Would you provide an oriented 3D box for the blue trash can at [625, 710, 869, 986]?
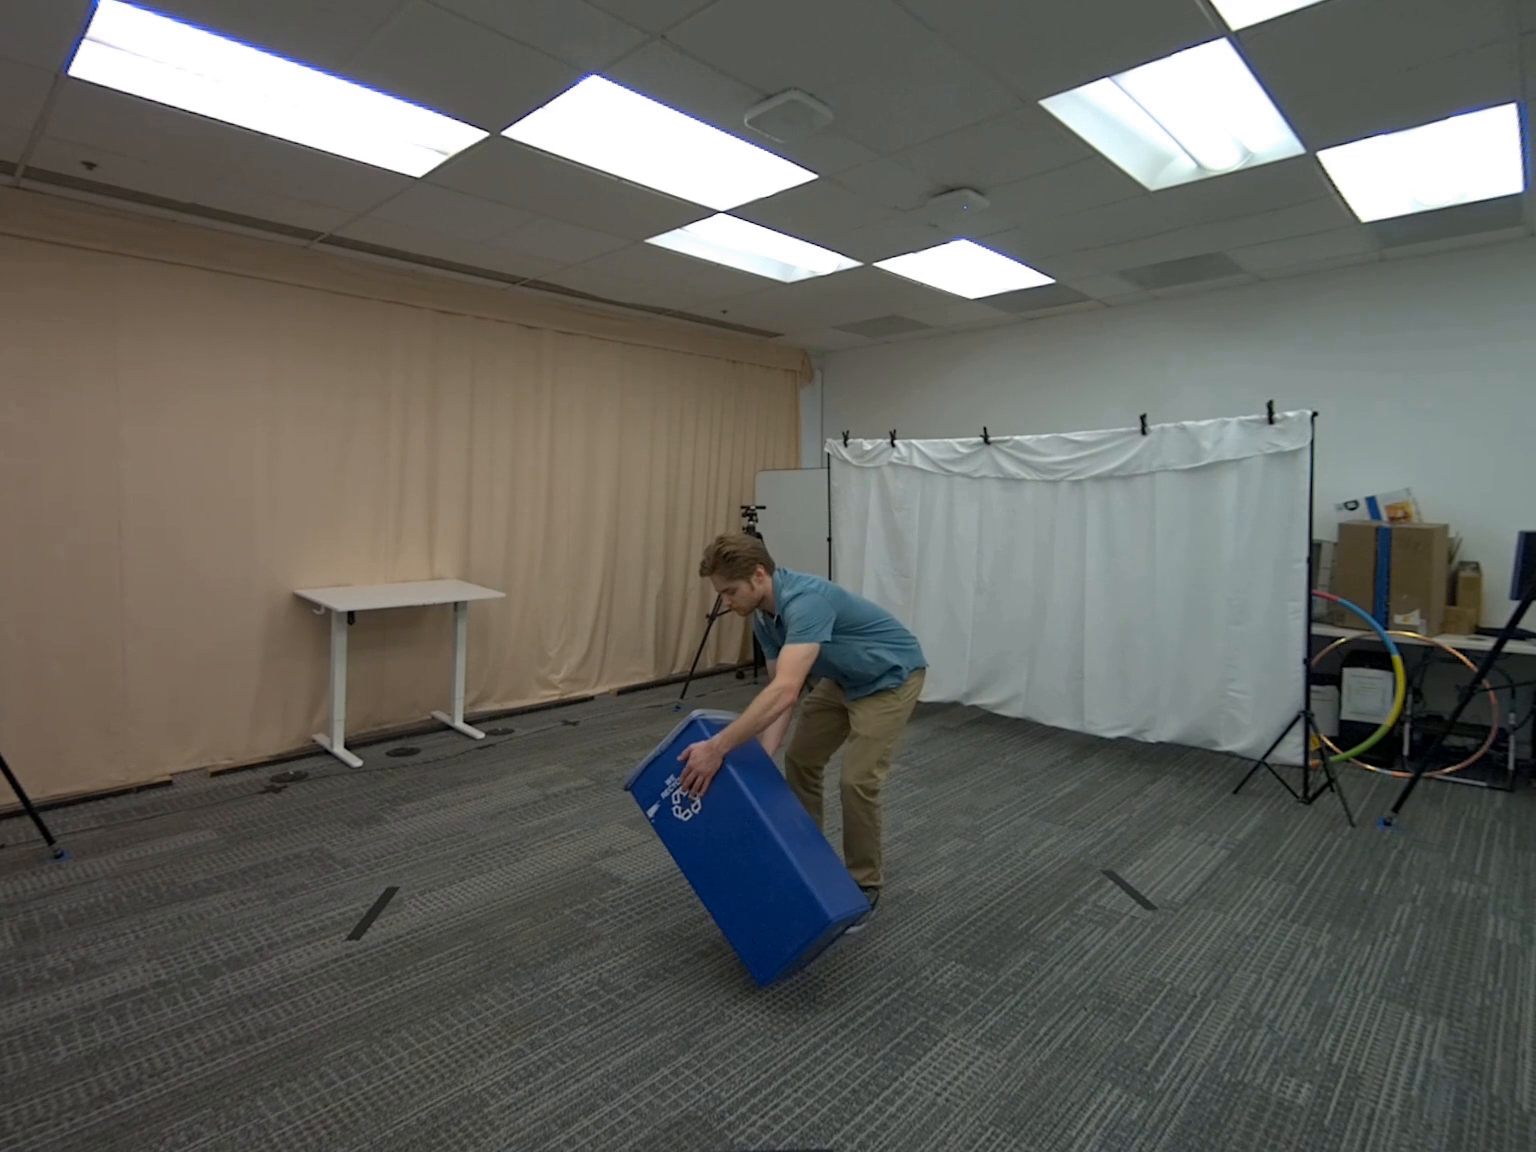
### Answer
[{"bbox_3d":[-0.061,0.821,2.569,0.735,0.379,0.362,50,12,28],"label":"blue trash can"}]
